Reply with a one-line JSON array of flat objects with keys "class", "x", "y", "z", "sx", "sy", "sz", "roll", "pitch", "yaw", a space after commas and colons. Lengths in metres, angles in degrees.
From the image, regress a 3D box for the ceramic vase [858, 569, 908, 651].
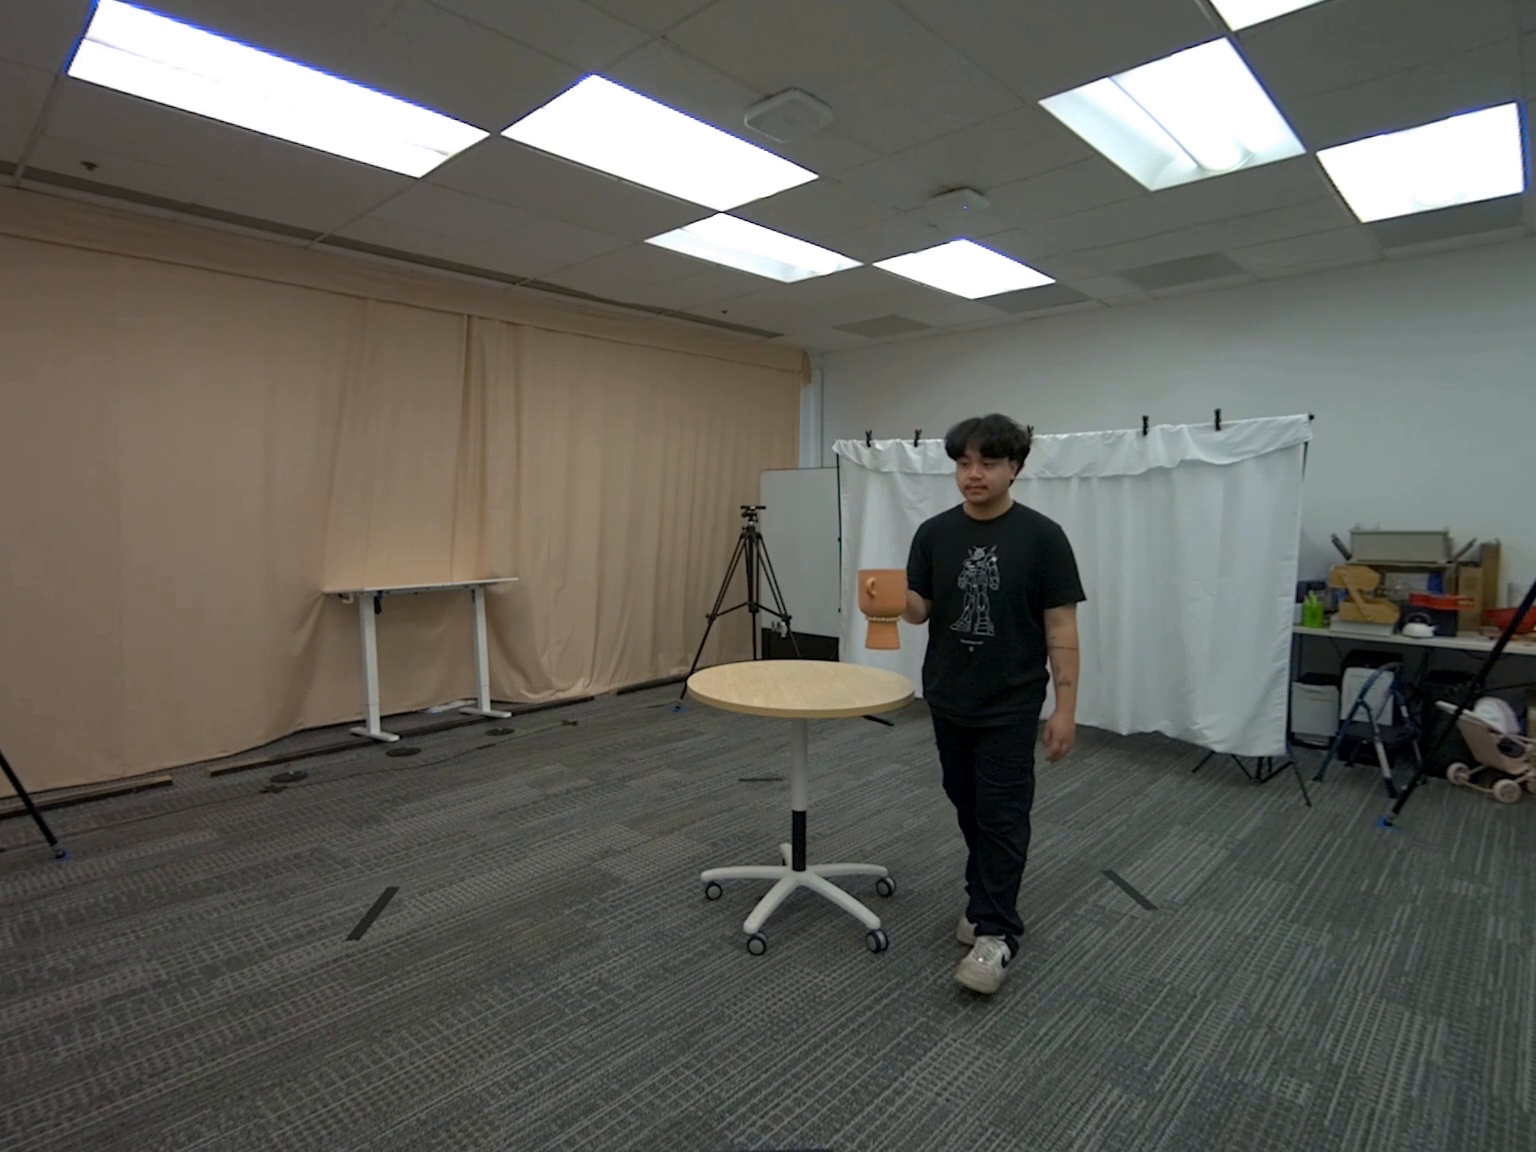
[{"class": "ceramic vase", "x": 0.331, "y": 0.088, "z": 2.359, "sx": 0.156, "sy": 0.219, "sz": 0.137, "roll": -3, "pitch": 1, "yaw": -19}]
